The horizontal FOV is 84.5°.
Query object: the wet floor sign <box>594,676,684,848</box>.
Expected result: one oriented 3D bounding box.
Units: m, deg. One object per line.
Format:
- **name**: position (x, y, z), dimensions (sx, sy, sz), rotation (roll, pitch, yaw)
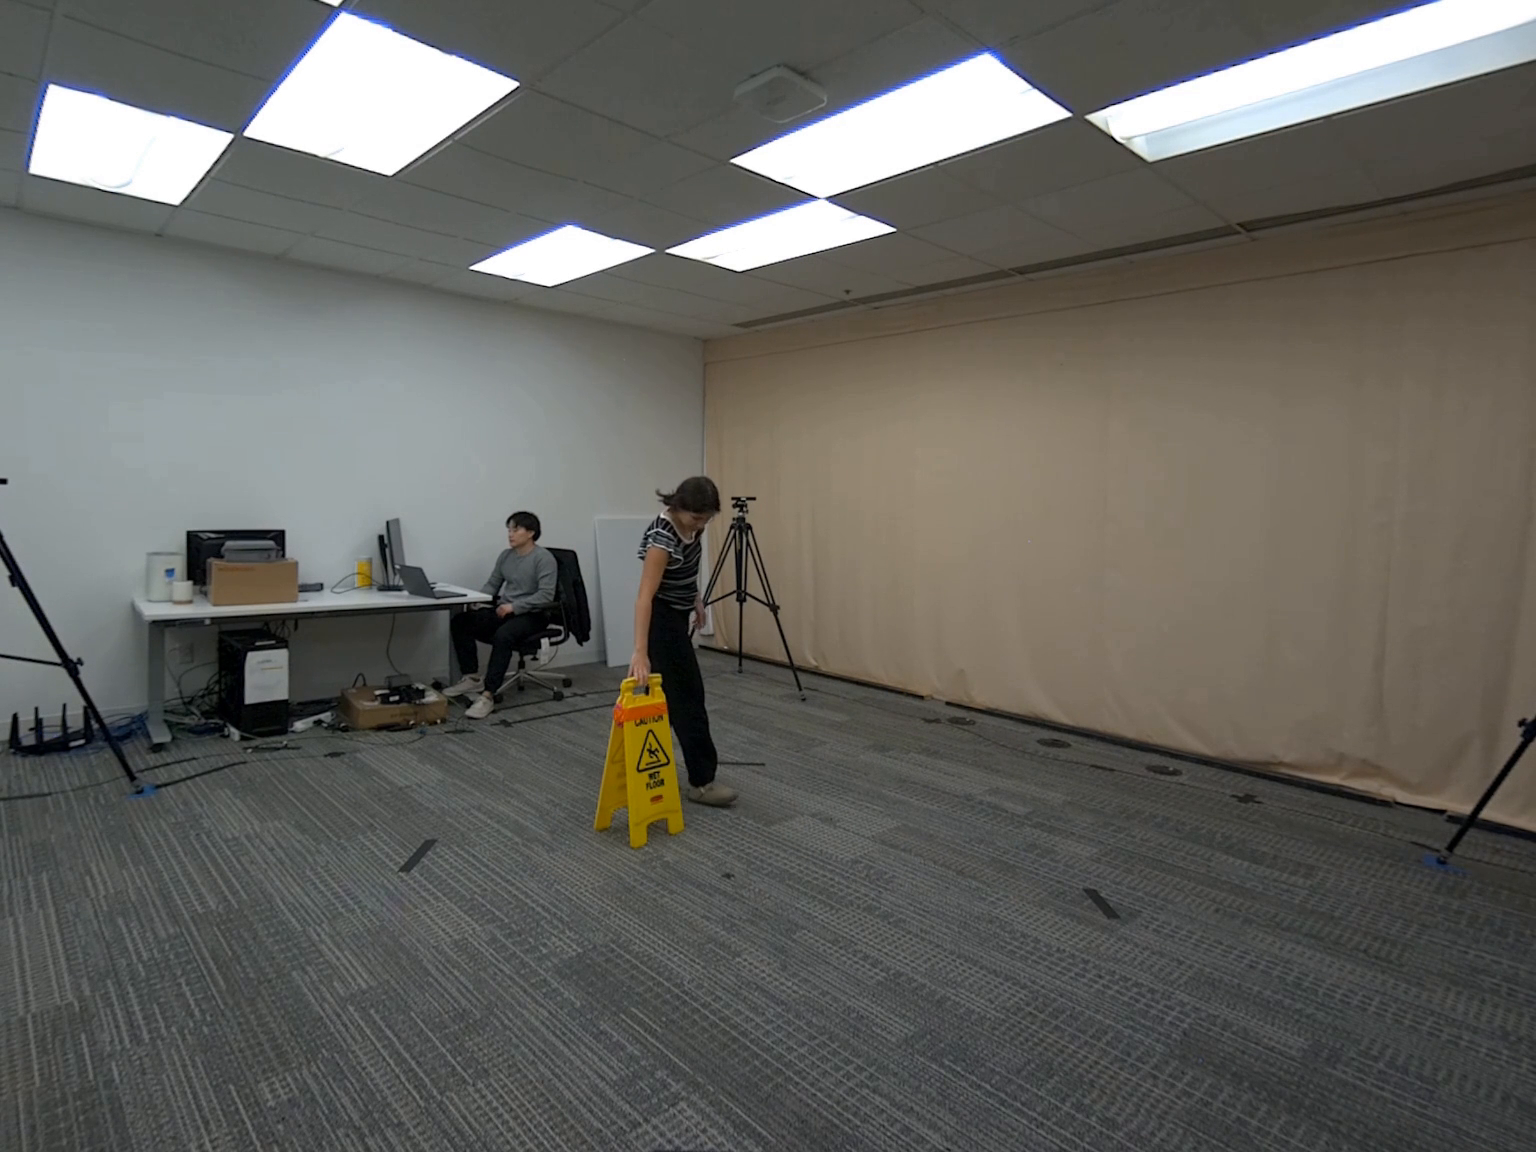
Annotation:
- **wet floor sign**: position (-0.549, 0.739, 3.495), dimensions (0.297, 0.645, 0.276), rotation (3, 3, 42)
